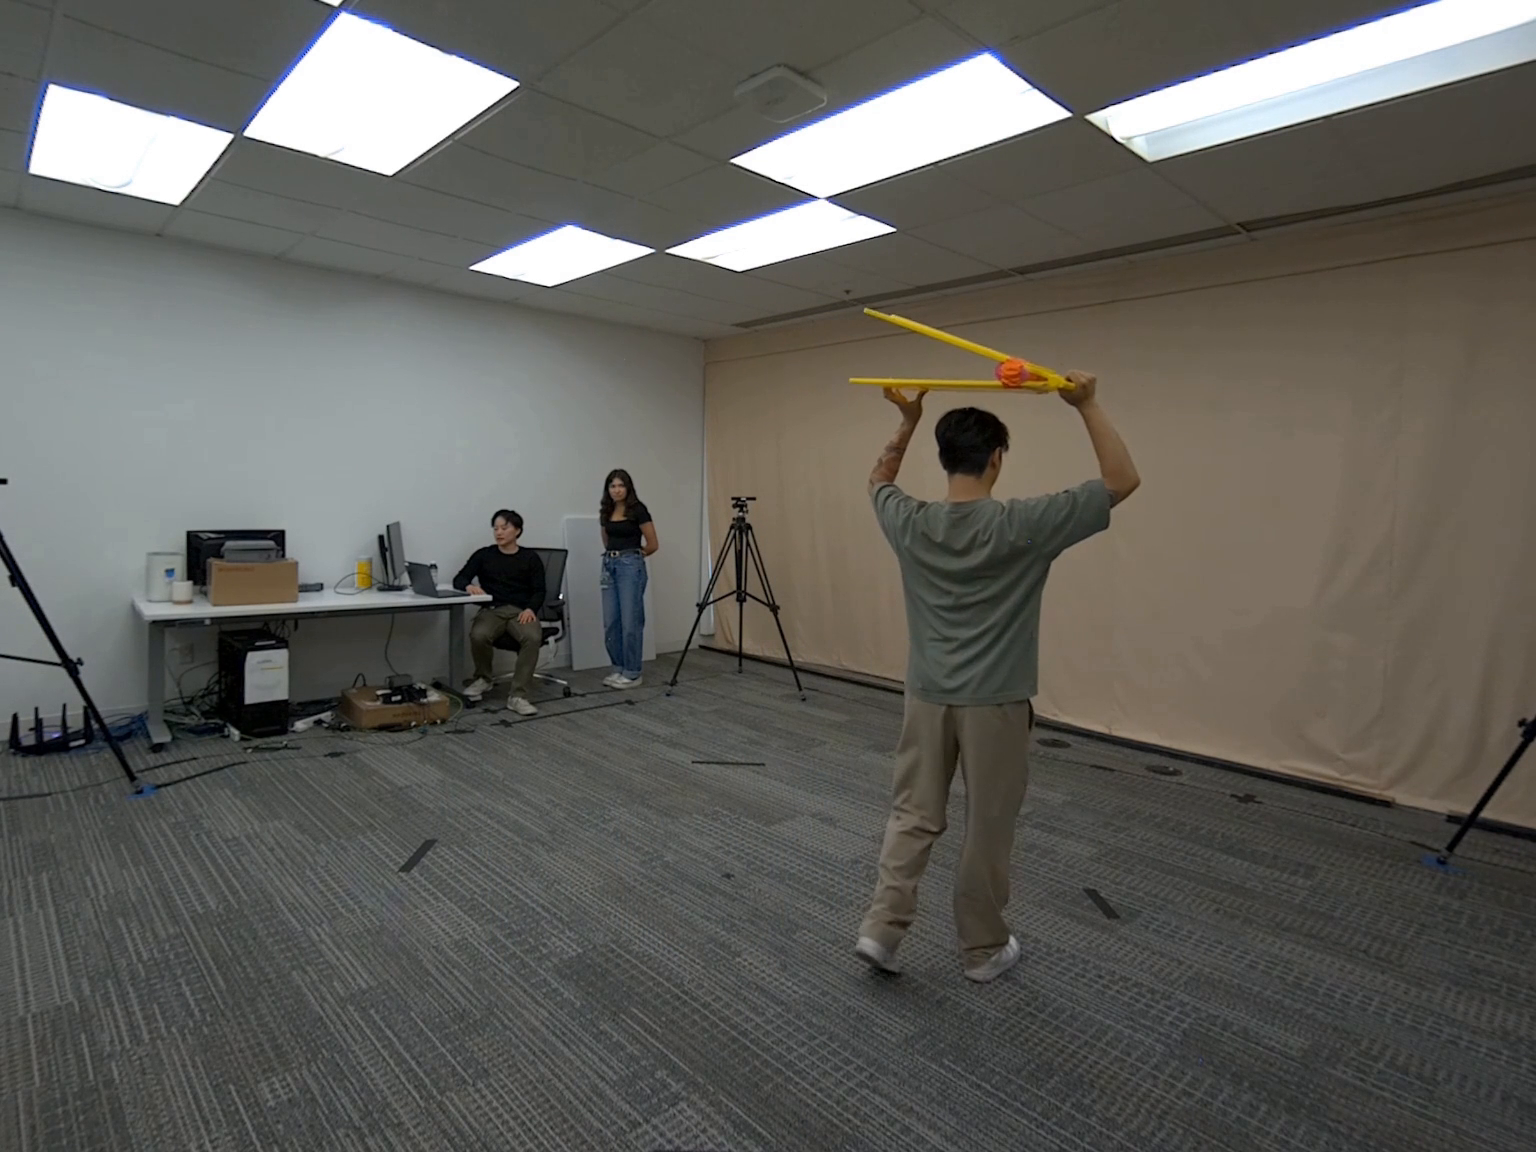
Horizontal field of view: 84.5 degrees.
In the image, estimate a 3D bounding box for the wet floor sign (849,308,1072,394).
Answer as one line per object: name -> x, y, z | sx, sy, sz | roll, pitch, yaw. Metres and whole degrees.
wet floor sign -> 0.603, -0.611, 2.508 | 0.665, 0.287, 0.276 | 21, 16, 36
